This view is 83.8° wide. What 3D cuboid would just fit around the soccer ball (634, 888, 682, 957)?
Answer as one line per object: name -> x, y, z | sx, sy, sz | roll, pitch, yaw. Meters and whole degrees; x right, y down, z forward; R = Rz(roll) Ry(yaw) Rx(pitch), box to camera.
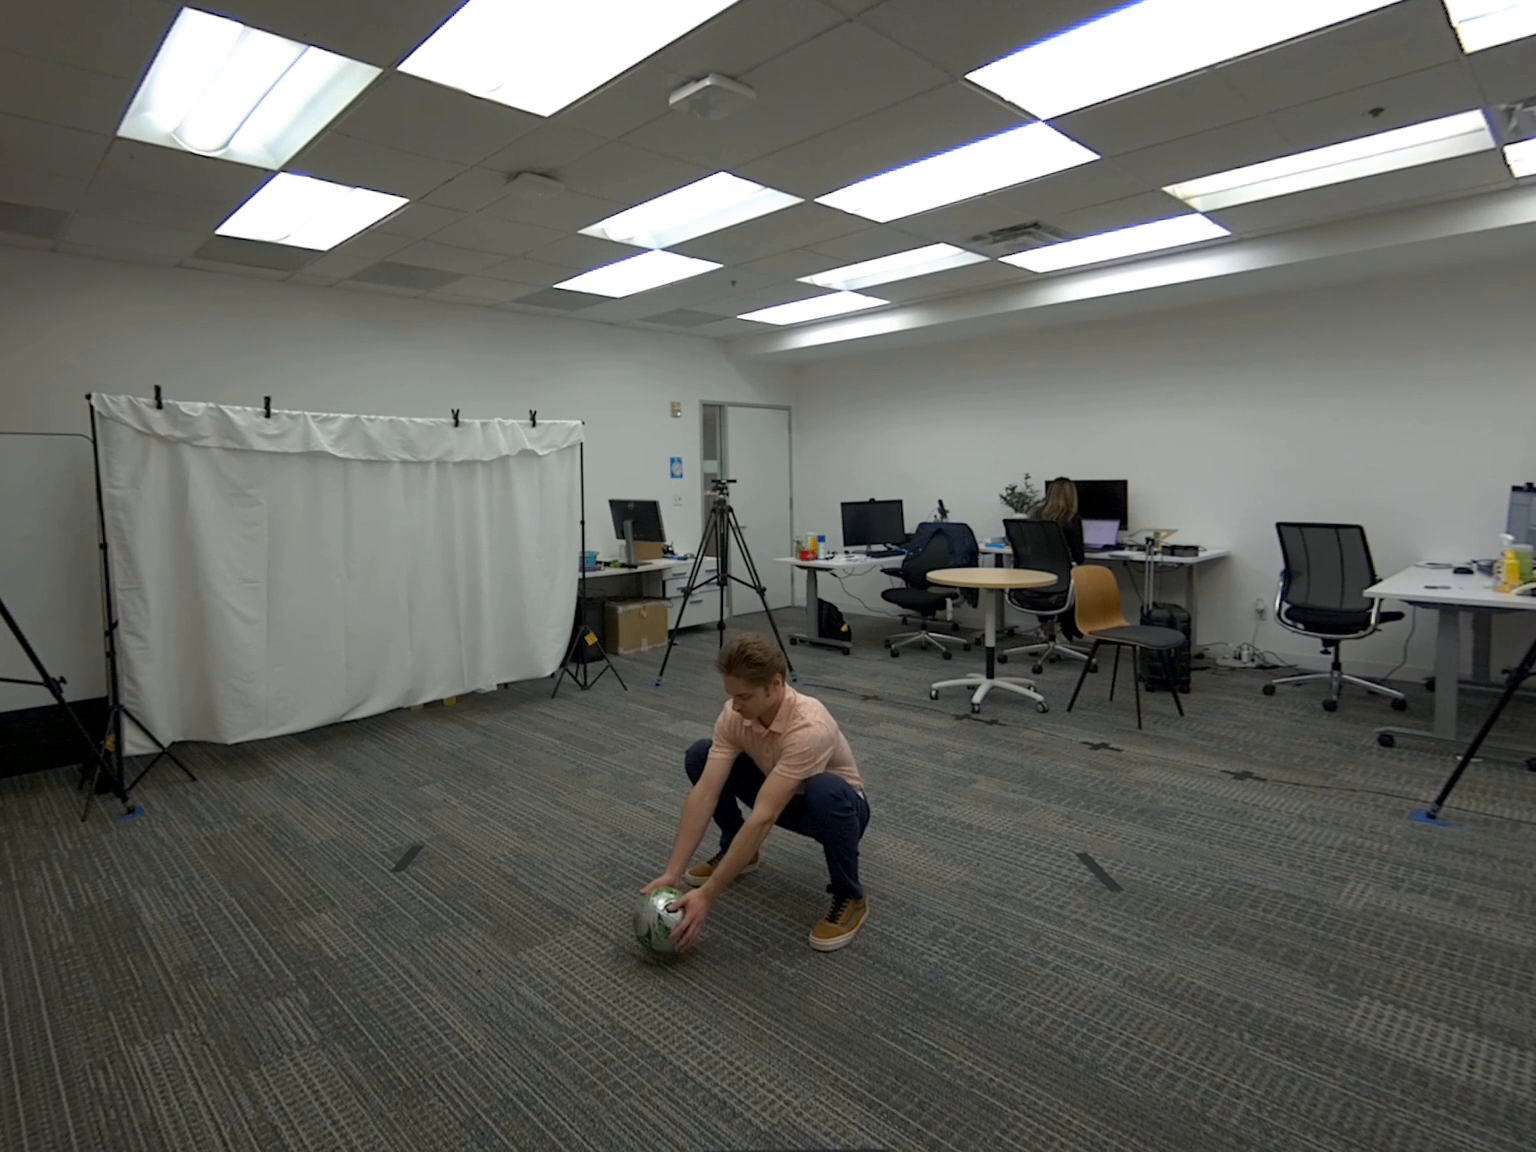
soccer ball -> -0.300, 1.017, 2.509 | 0.187, 0.187, 0.188 | -1, 5, -2
